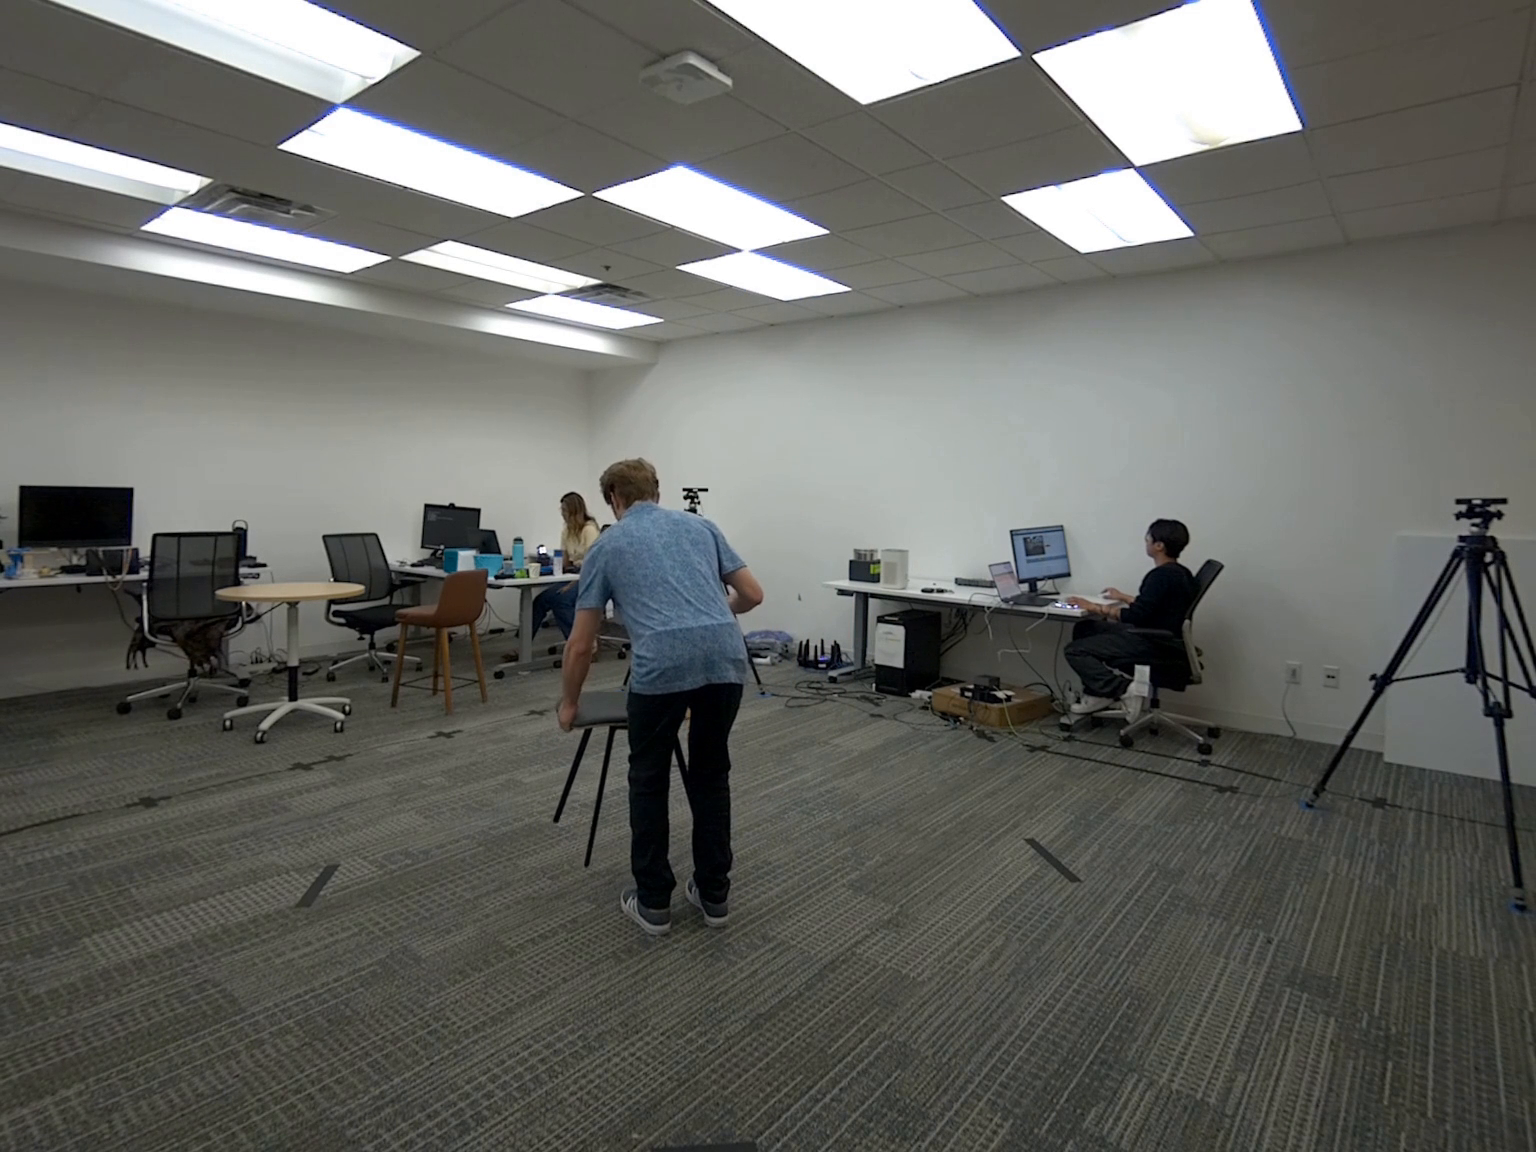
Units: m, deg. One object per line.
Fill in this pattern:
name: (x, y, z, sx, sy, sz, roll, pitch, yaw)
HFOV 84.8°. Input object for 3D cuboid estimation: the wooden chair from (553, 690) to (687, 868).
wooden chair: (-0.511, 0.529, 3.110, 0.509, 0.878, 0.491, 7, -1, -27)
